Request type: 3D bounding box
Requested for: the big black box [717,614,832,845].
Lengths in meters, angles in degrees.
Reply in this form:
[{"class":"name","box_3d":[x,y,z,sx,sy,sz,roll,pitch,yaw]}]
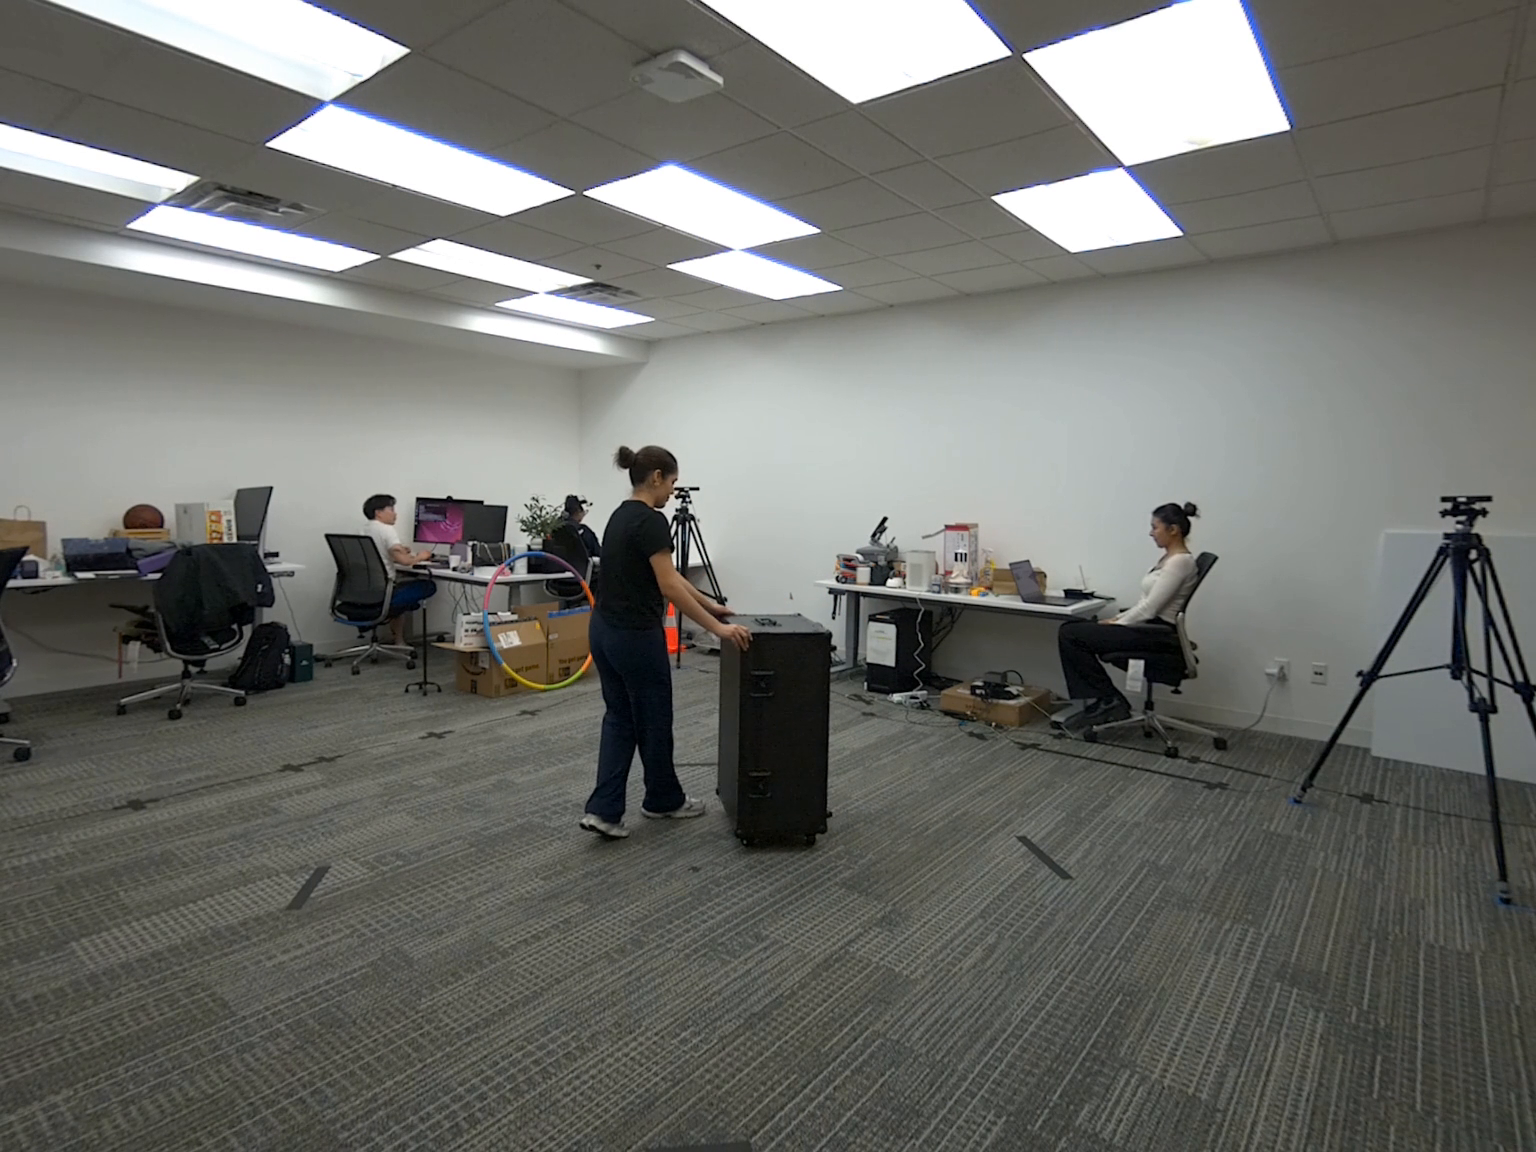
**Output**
[{"class":"big black box","box_3d":[0.036,0.609,3.474,0.392,0.859,0.528,1,3,-10]}]
